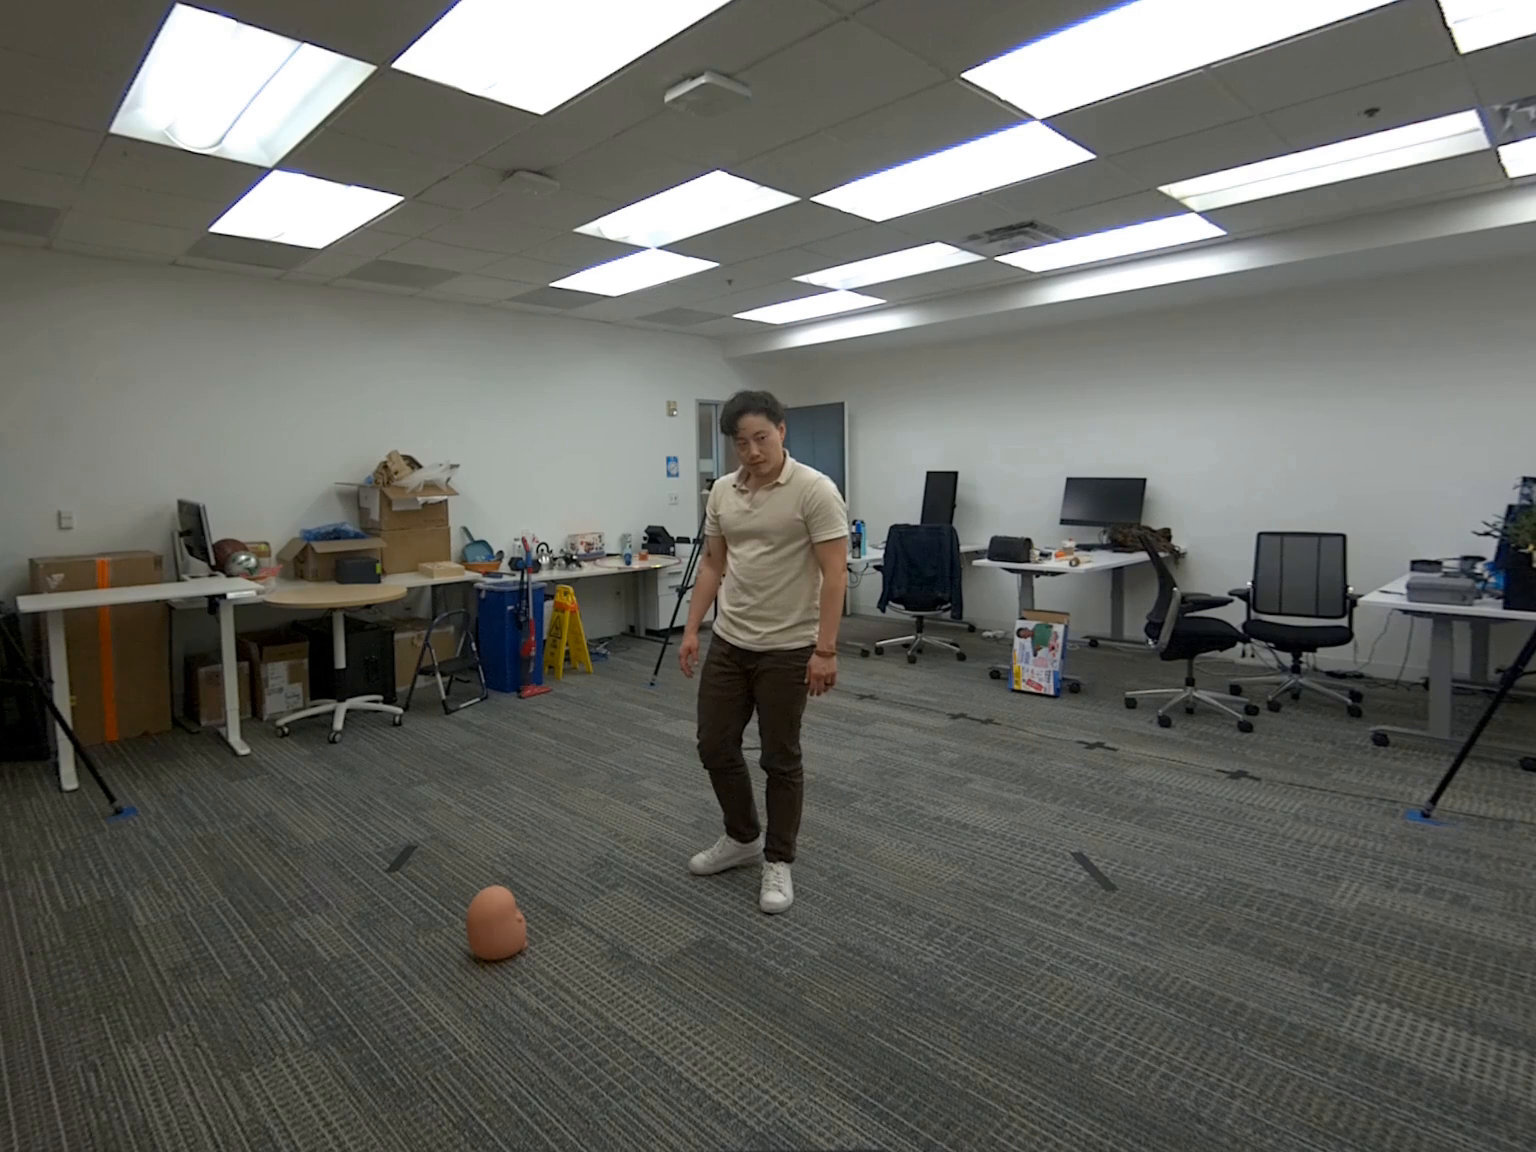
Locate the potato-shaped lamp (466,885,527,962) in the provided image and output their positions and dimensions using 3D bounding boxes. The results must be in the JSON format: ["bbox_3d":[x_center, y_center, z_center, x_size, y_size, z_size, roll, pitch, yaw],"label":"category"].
[{"bbox_3d":[-0.802,1.023,2.544,0.167,0.196,0.170,-7,12,-43],"label":"potato-shaped lamp"}]
